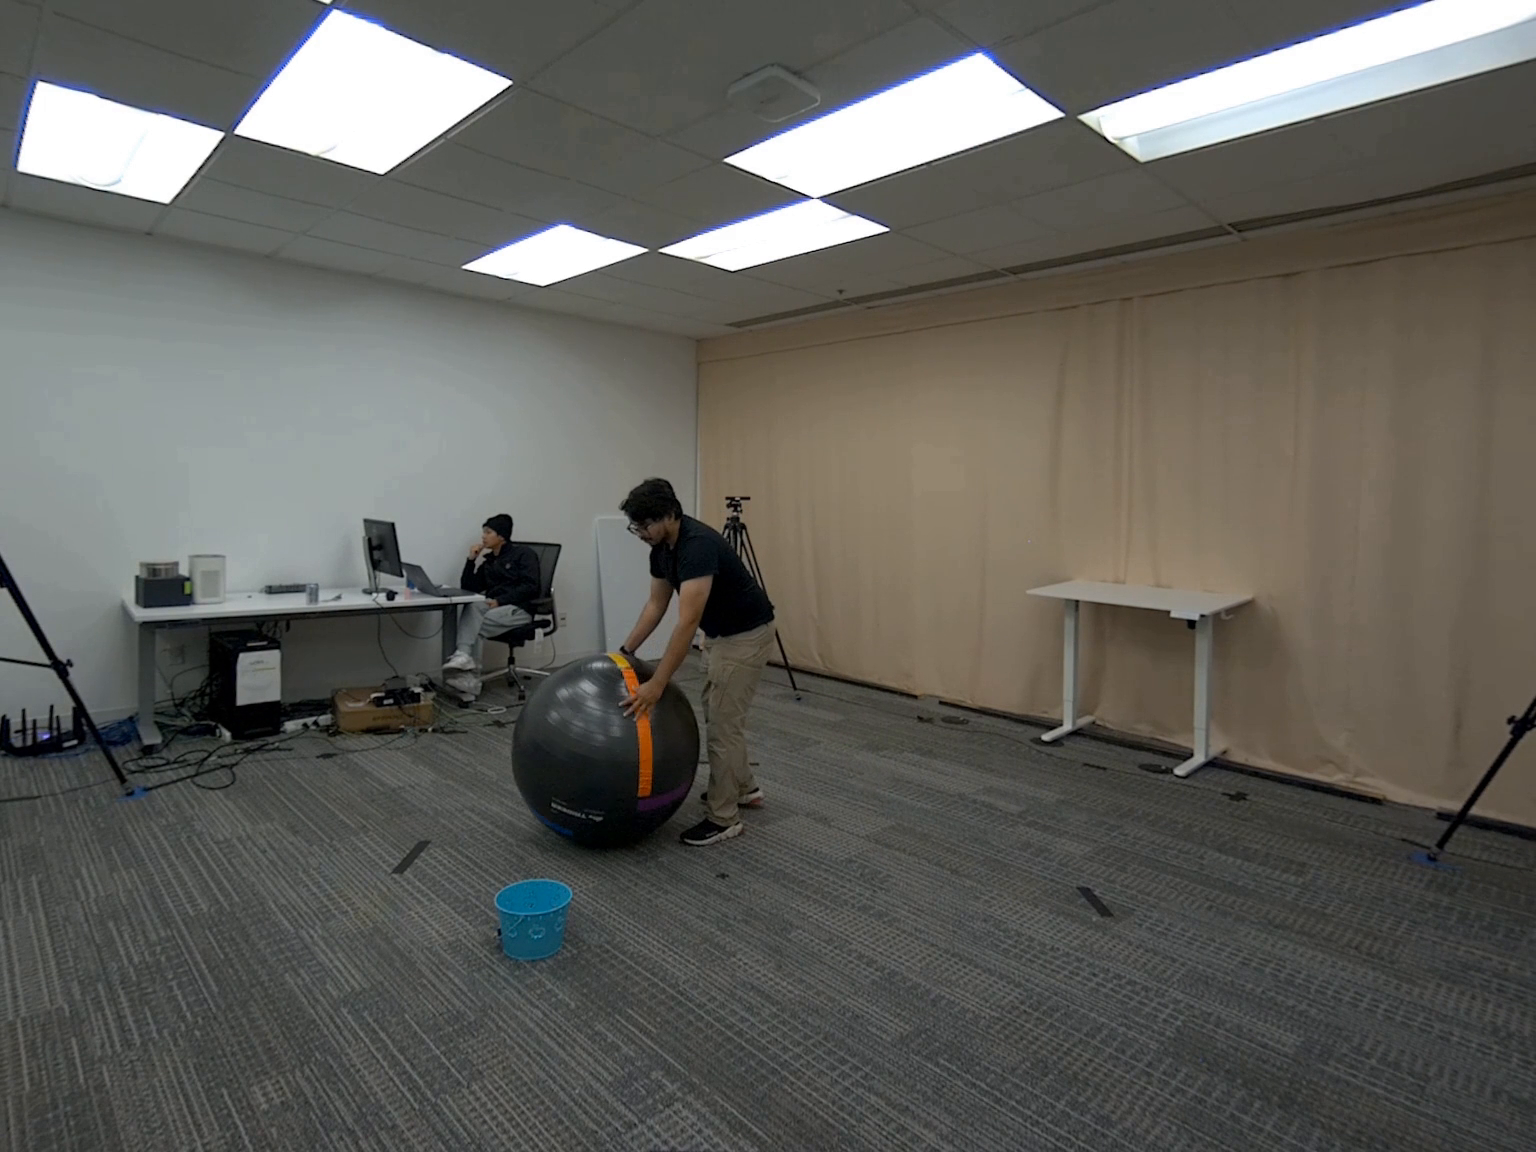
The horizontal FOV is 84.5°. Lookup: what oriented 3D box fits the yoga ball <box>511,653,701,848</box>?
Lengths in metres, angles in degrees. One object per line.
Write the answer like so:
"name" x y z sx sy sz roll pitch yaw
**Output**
"yoga ball" -0.674 0.706 3.429 0.757 0.756 0.761 1 4 -1
